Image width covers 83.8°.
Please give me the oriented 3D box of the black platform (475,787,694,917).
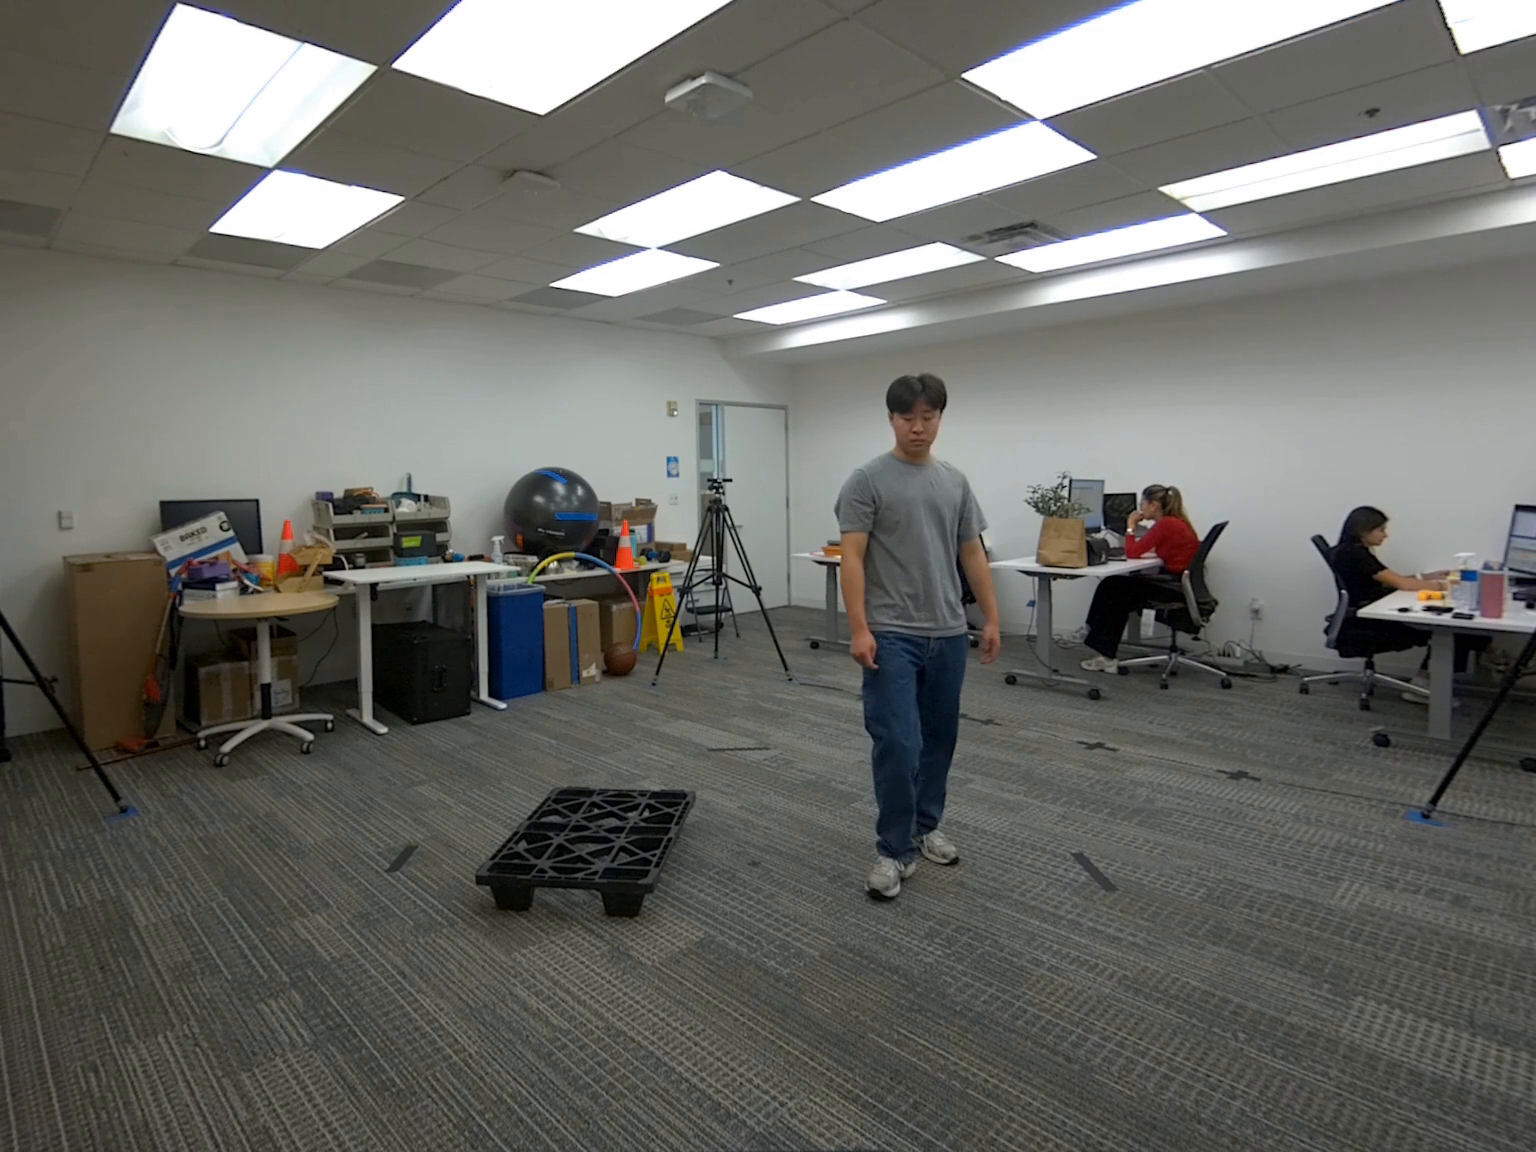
[{"bbox_3d":[-0.613,0.982,3.127,0.610,0.142,0.804,0,7,6],"label":"black platform"}]
